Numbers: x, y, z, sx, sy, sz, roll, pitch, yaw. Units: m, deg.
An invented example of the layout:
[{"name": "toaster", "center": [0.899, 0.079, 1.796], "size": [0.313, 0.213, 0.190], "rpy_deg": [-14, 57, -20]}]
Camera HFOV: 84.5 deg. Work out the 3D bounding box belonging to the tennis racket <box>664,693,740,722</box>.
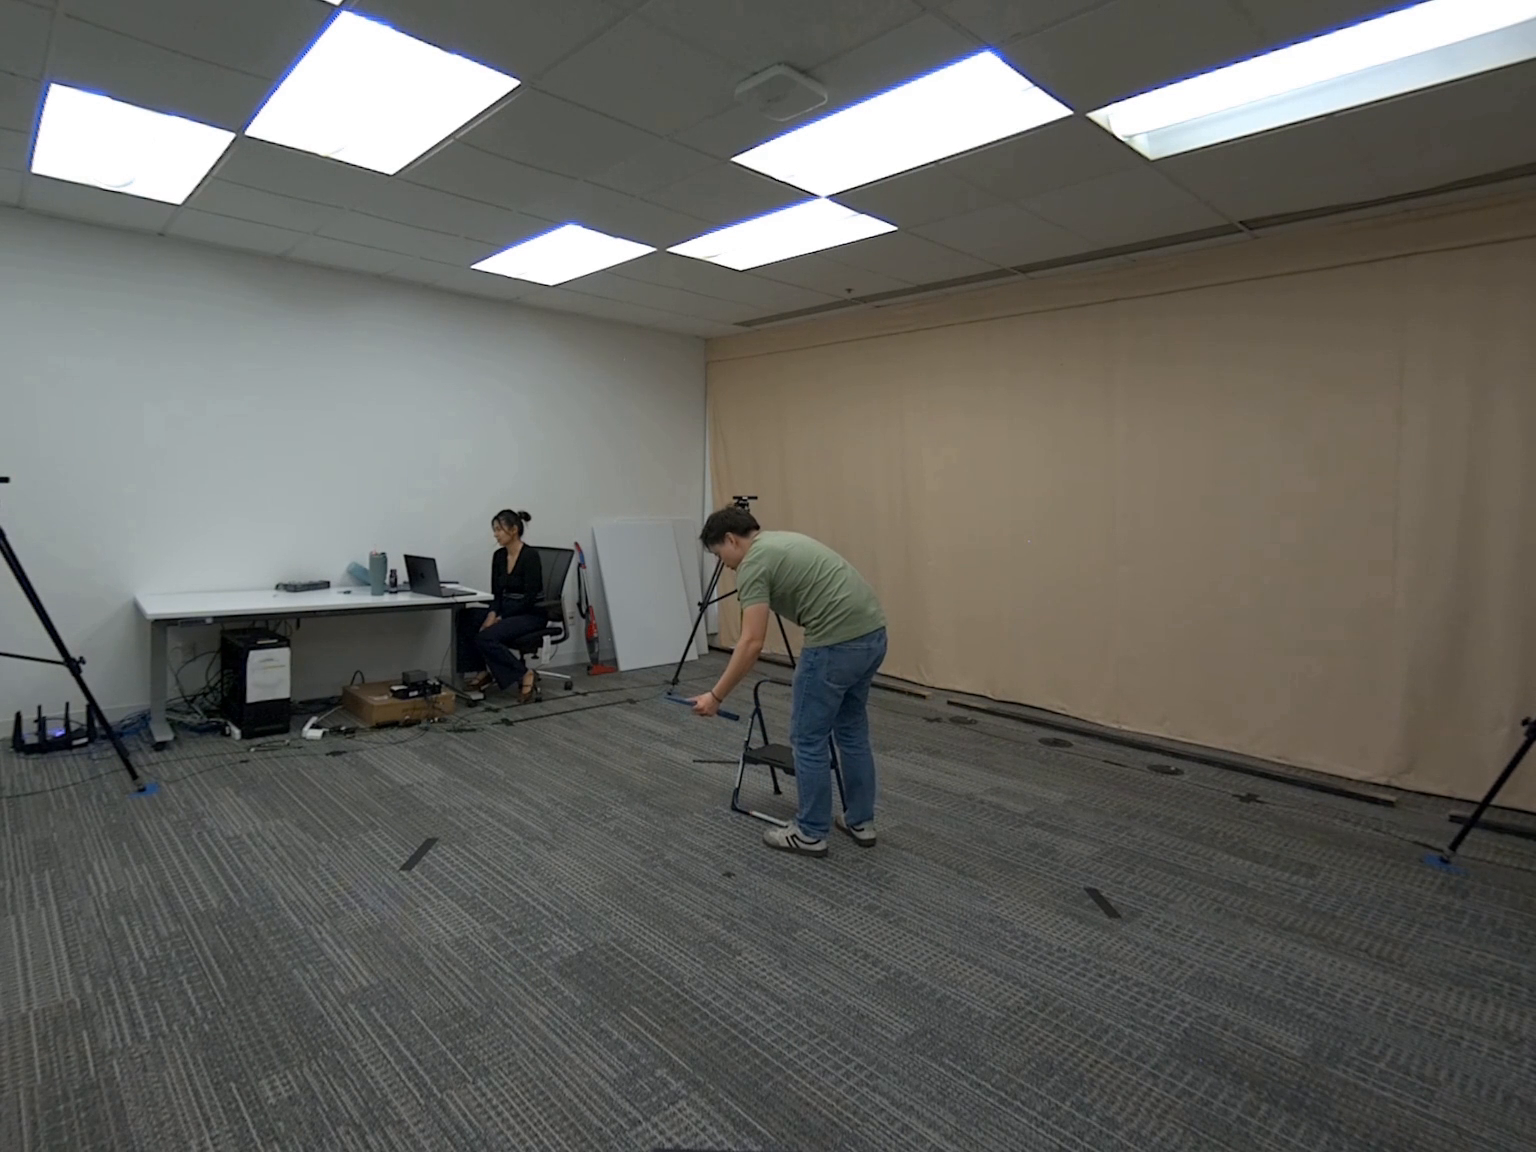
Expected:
[{"name": "tennis racket", "center": [-0.230, 0.523, 3.301], "size": [0.219, 0.032, 0.420], "rpy_deg": [8, -11, 37]}]
